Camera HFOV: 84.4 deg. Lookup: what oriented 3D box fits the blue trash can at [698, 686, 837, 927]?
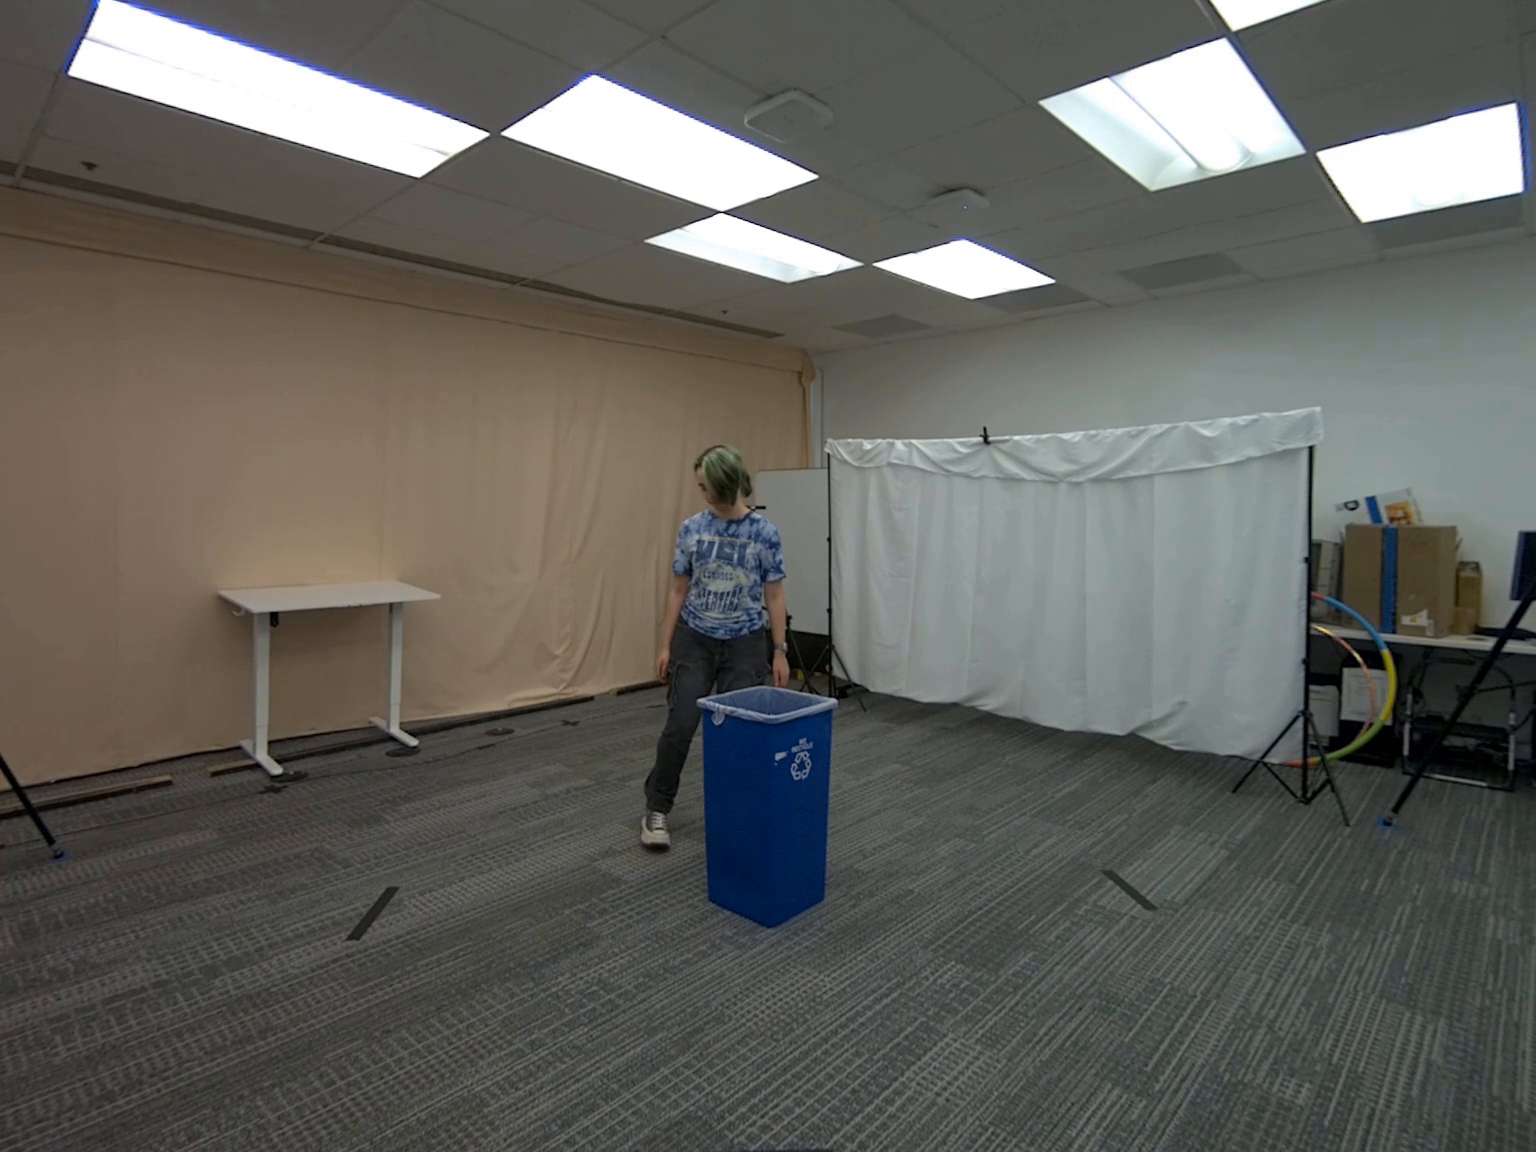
[{"bbox_3d":[0.004,0.789,2.962,0.391,0.712,0.362,3,5,42],"label":"blue trash can"}]
